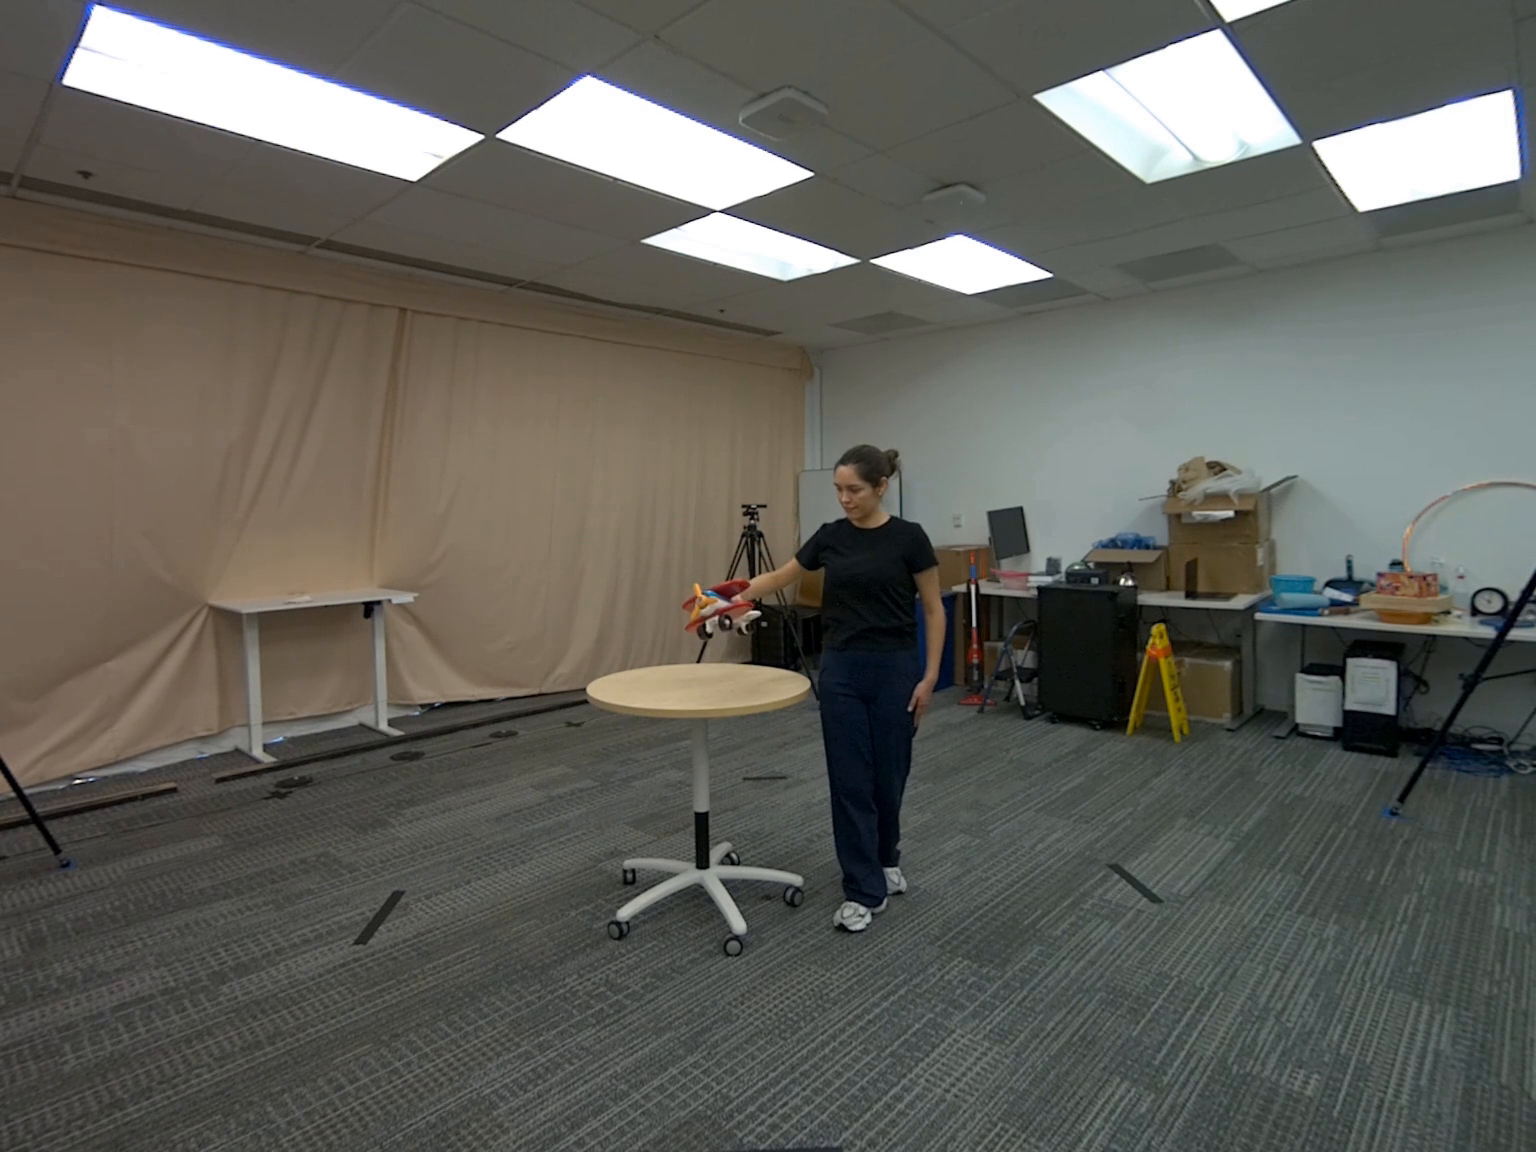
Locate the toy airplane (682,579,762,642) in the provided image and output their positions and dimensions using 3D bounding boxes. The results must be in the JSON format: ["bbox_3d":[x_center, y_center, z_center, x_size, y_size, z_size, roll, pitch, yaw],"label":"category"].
[{"bbox_3d":[-0.149,0.122,2.762,0.252,0.158,0.255,-18,-12,2],"label":"toy airplane"}]
